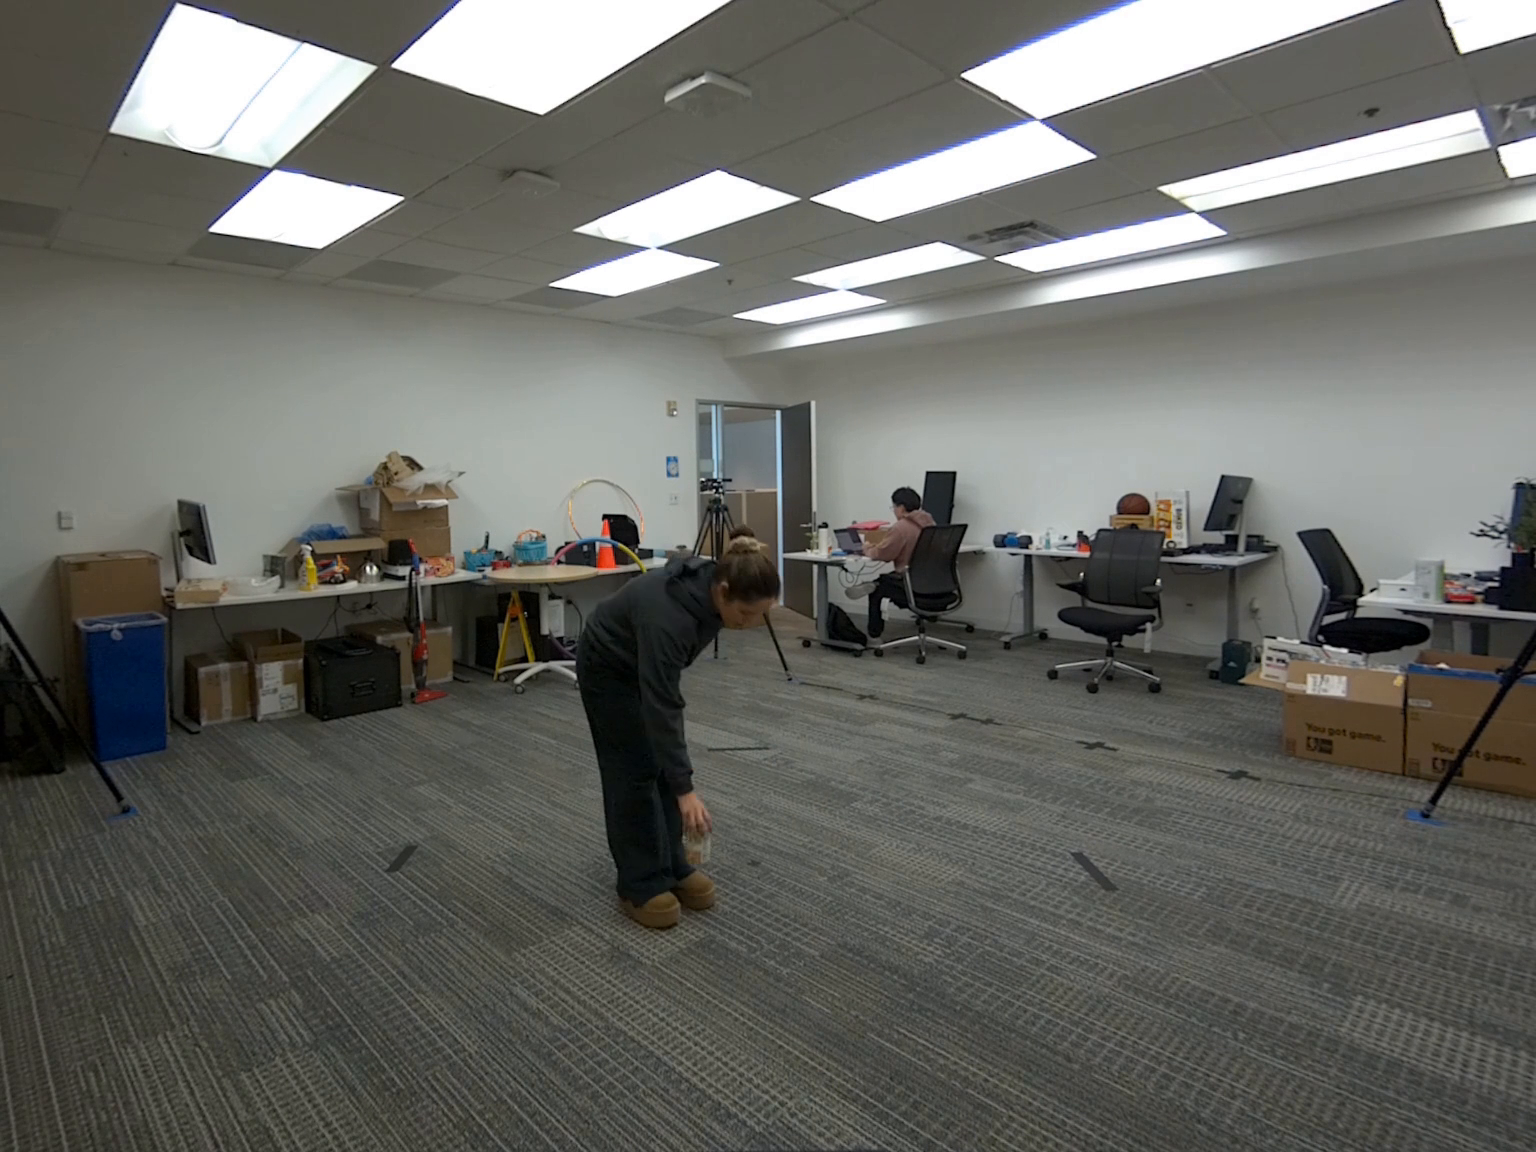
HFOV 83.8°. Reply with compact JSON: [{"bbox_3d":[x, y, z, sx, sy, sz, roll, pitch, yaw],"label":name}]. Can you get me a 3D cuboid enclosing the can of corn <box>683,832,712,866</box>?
[{"bbox_3d":[-0.217,0.779,2.527,0.074,0.110,0.075,1,14,-2],"label":"can of corn"}]
